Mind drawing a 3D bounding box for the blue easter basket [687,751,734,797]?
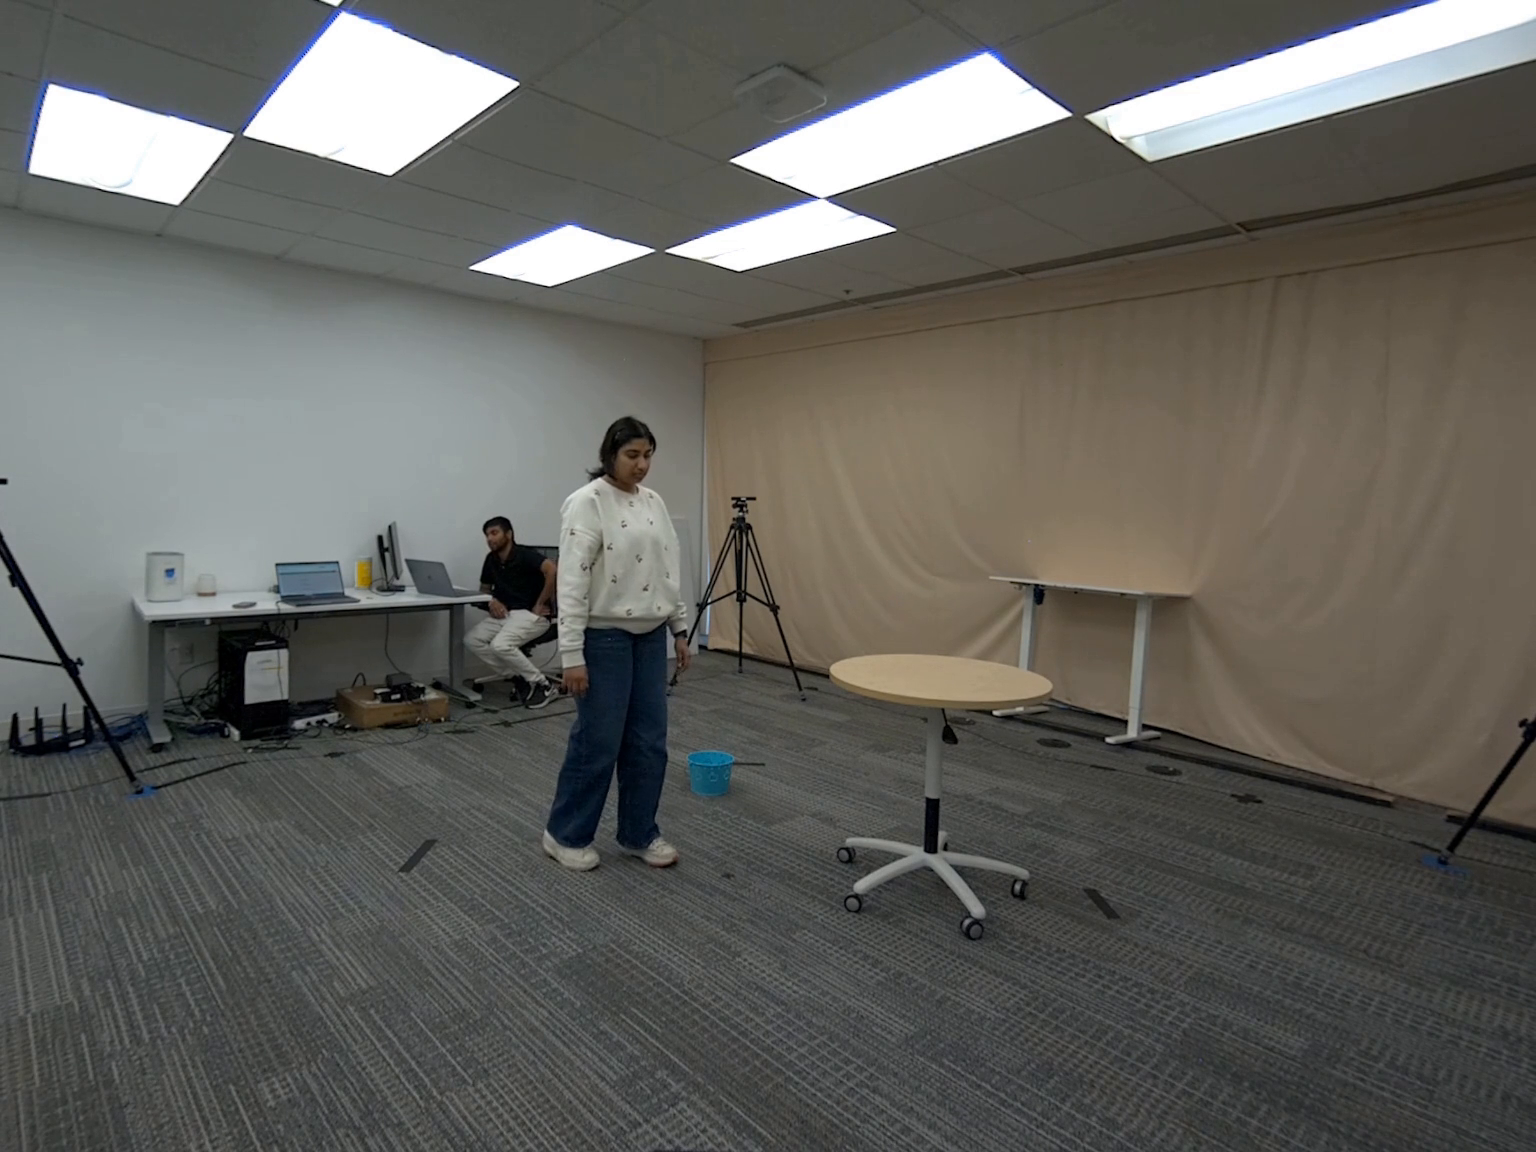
[{"bbox_3d":[-0.289,0.946,4.048,0.243,0.155,0.244,1,5,-1],"label":"blue easter basket"}]
